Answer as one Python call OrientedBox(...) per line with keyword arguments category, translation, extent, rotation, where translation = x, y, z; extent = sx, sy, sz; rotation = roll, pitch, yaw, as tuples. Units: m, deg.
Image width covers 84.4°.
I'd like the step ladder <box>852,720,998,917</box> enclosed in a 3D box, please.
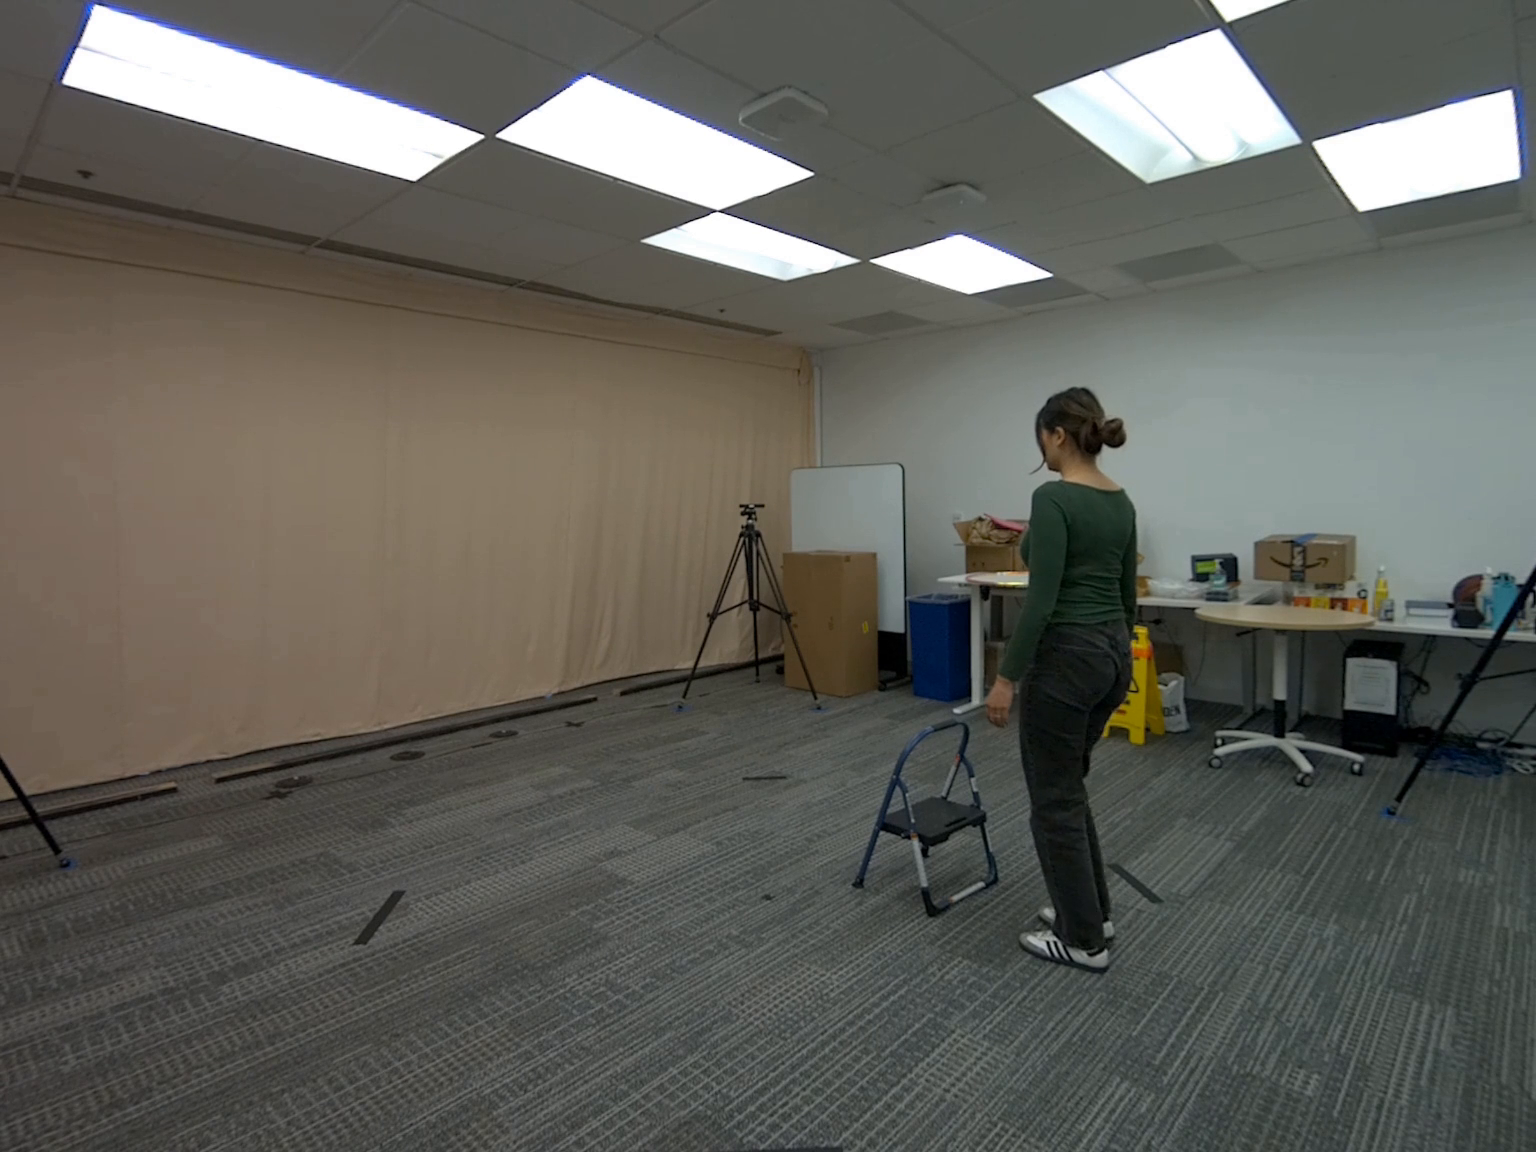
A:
OrientedBox(category="step ladder", translation=(0.577, 0.818, 3.055), extent=(0.417, 0.604, 0.361), rotation=(-4, 5, -43))
